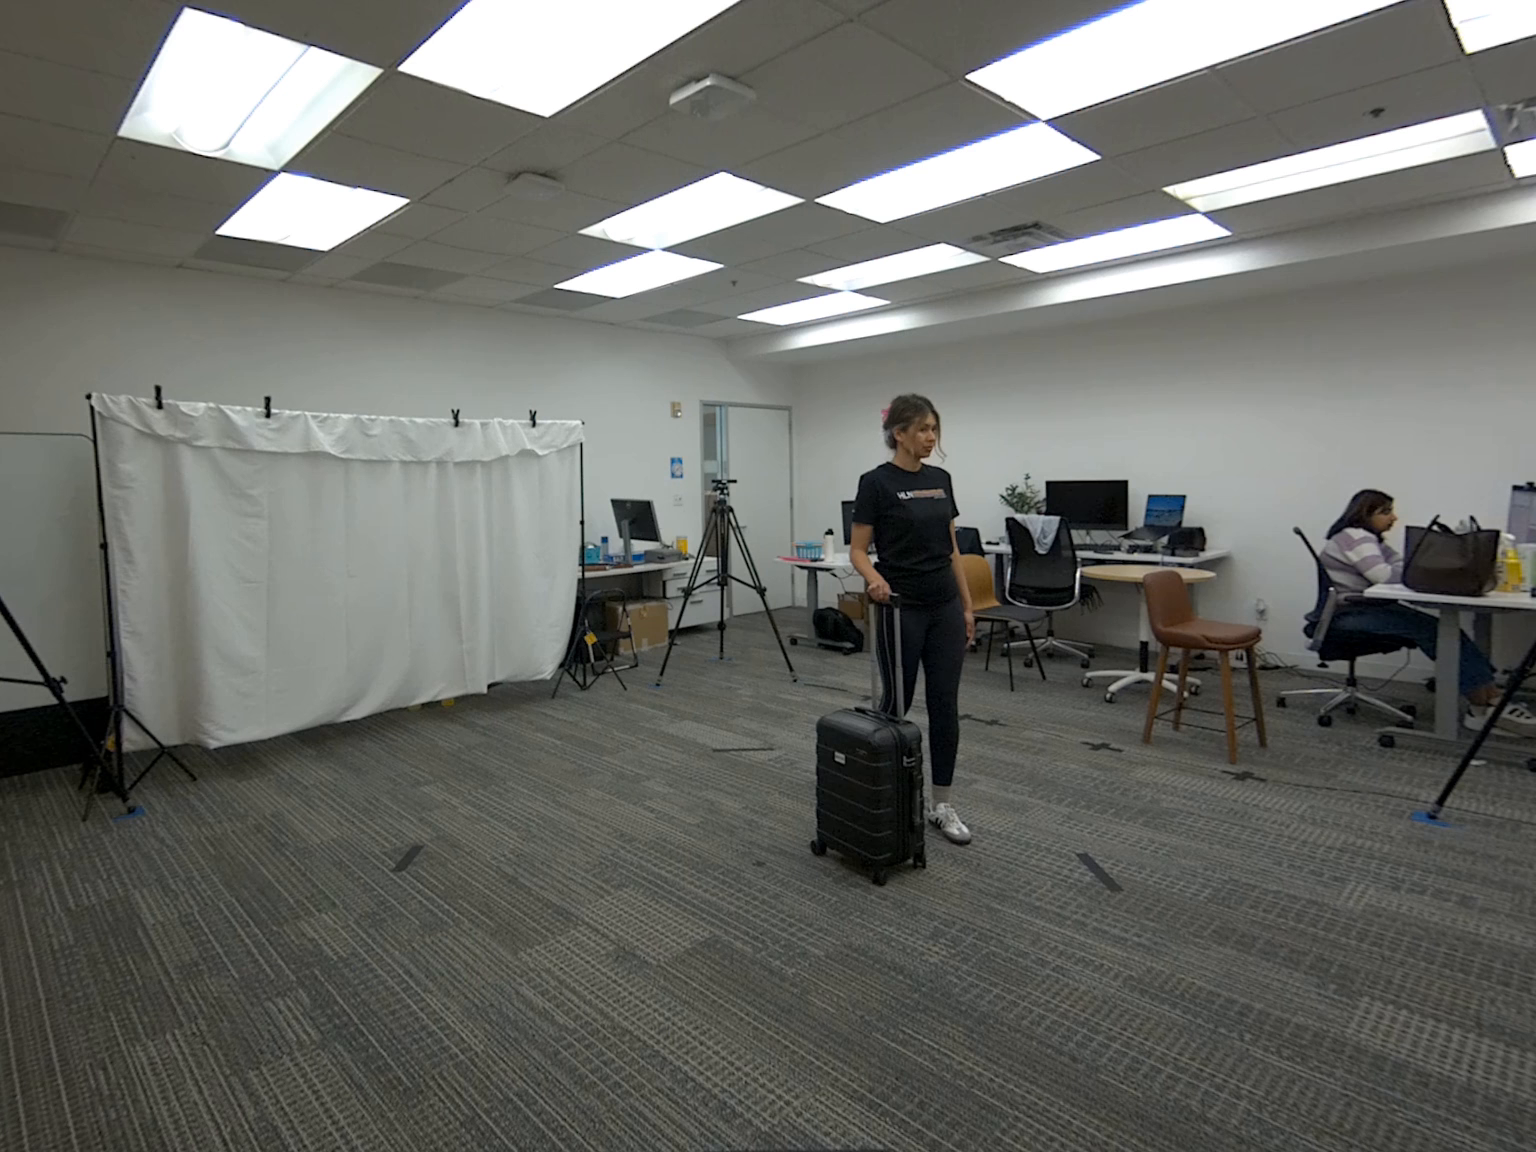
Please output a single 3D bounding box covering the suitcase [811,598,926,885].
[{"bbox_3d":[0.357,0.568,3.068,0.251,0.974,0.395,-5,6,-32],"label":"suitcase"}]
